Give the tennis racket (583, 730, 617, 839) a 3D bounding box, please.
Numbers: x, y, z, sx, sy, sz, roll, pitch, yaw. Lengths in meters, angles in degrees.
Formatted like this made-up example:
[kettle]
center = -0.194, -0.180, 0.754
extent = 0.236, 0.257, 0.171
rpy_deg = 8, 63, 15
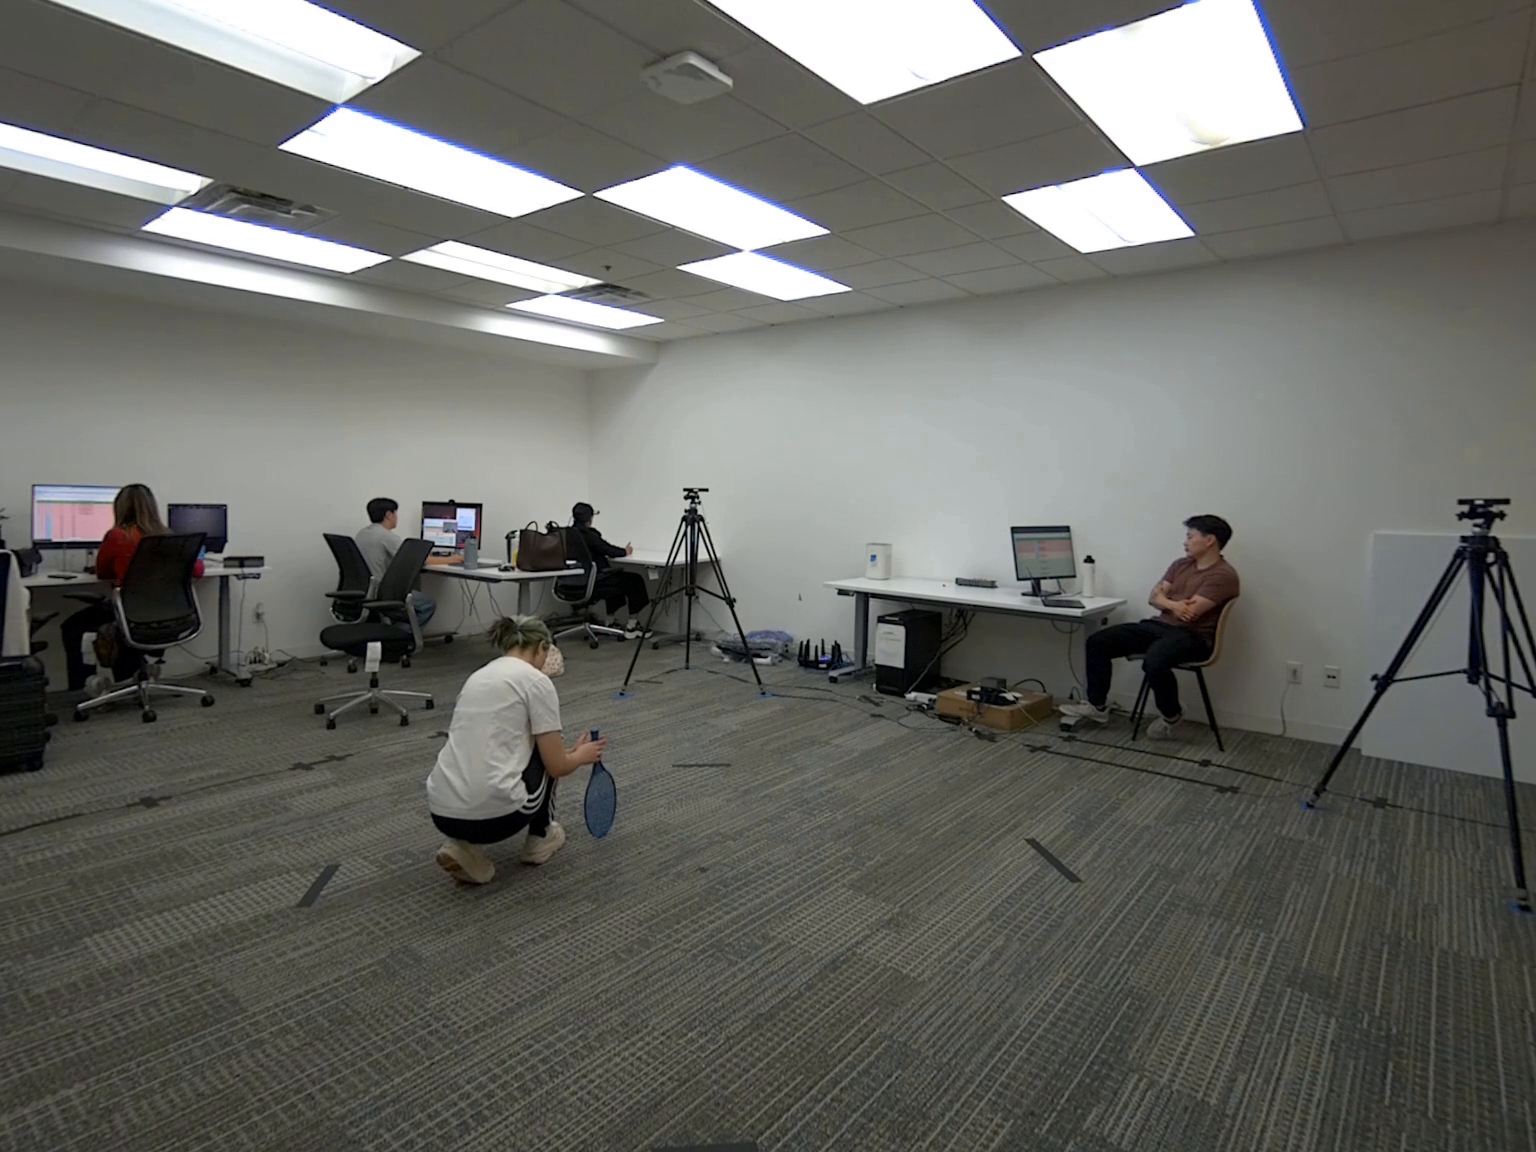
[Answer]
[tennis racket]
center = -0.692, 0.825, 3.375
extent = 0.032, 0.429, 0.211
rpy_deg = -3, 10, 23
